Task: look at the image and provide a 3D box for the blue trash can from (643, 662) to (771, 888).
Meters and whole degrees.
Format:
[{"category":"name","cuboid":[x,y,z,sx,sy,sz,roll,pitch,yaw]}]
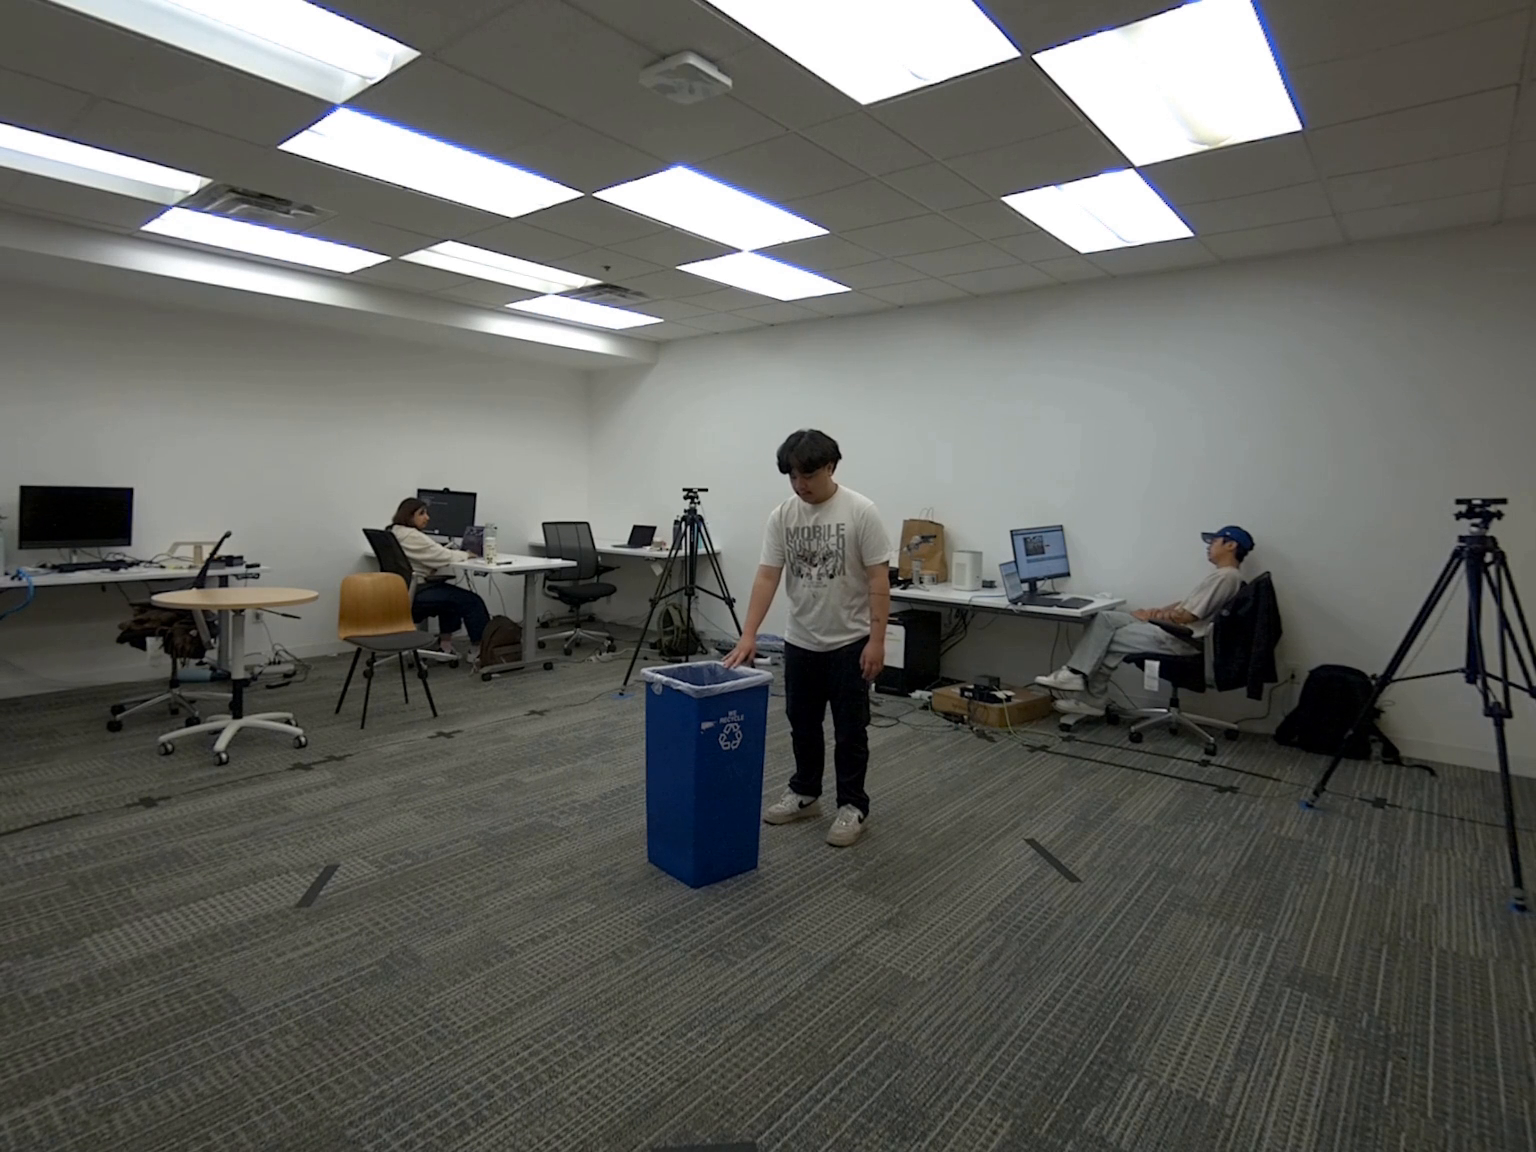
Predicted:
[{"category":"blue trash can","cuboid":[-0.240,0.708,3.144,0.363,0.711,0.391,-2,4,-41]}]
